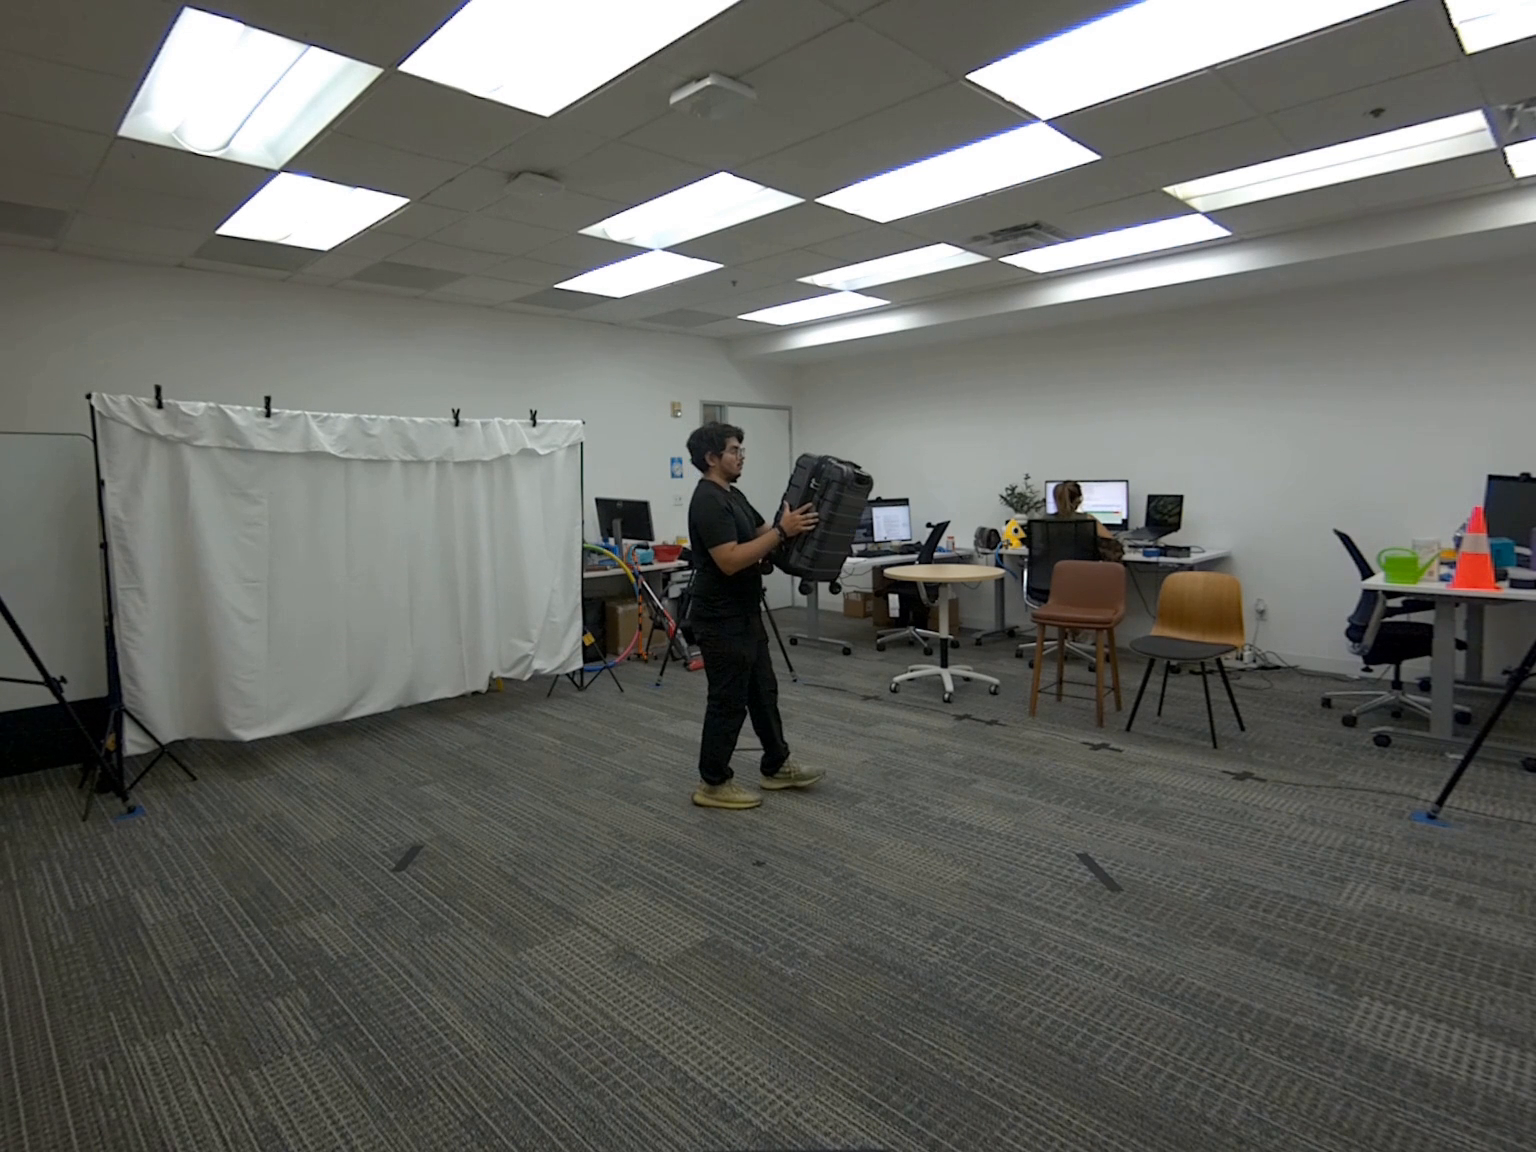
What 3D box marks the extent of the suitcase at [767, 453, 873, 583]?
[{"bbox_3d":[0.207,-0.230,3.551,0.257,0.546,0.365,26,11,29],"label":"suitcase"}]
